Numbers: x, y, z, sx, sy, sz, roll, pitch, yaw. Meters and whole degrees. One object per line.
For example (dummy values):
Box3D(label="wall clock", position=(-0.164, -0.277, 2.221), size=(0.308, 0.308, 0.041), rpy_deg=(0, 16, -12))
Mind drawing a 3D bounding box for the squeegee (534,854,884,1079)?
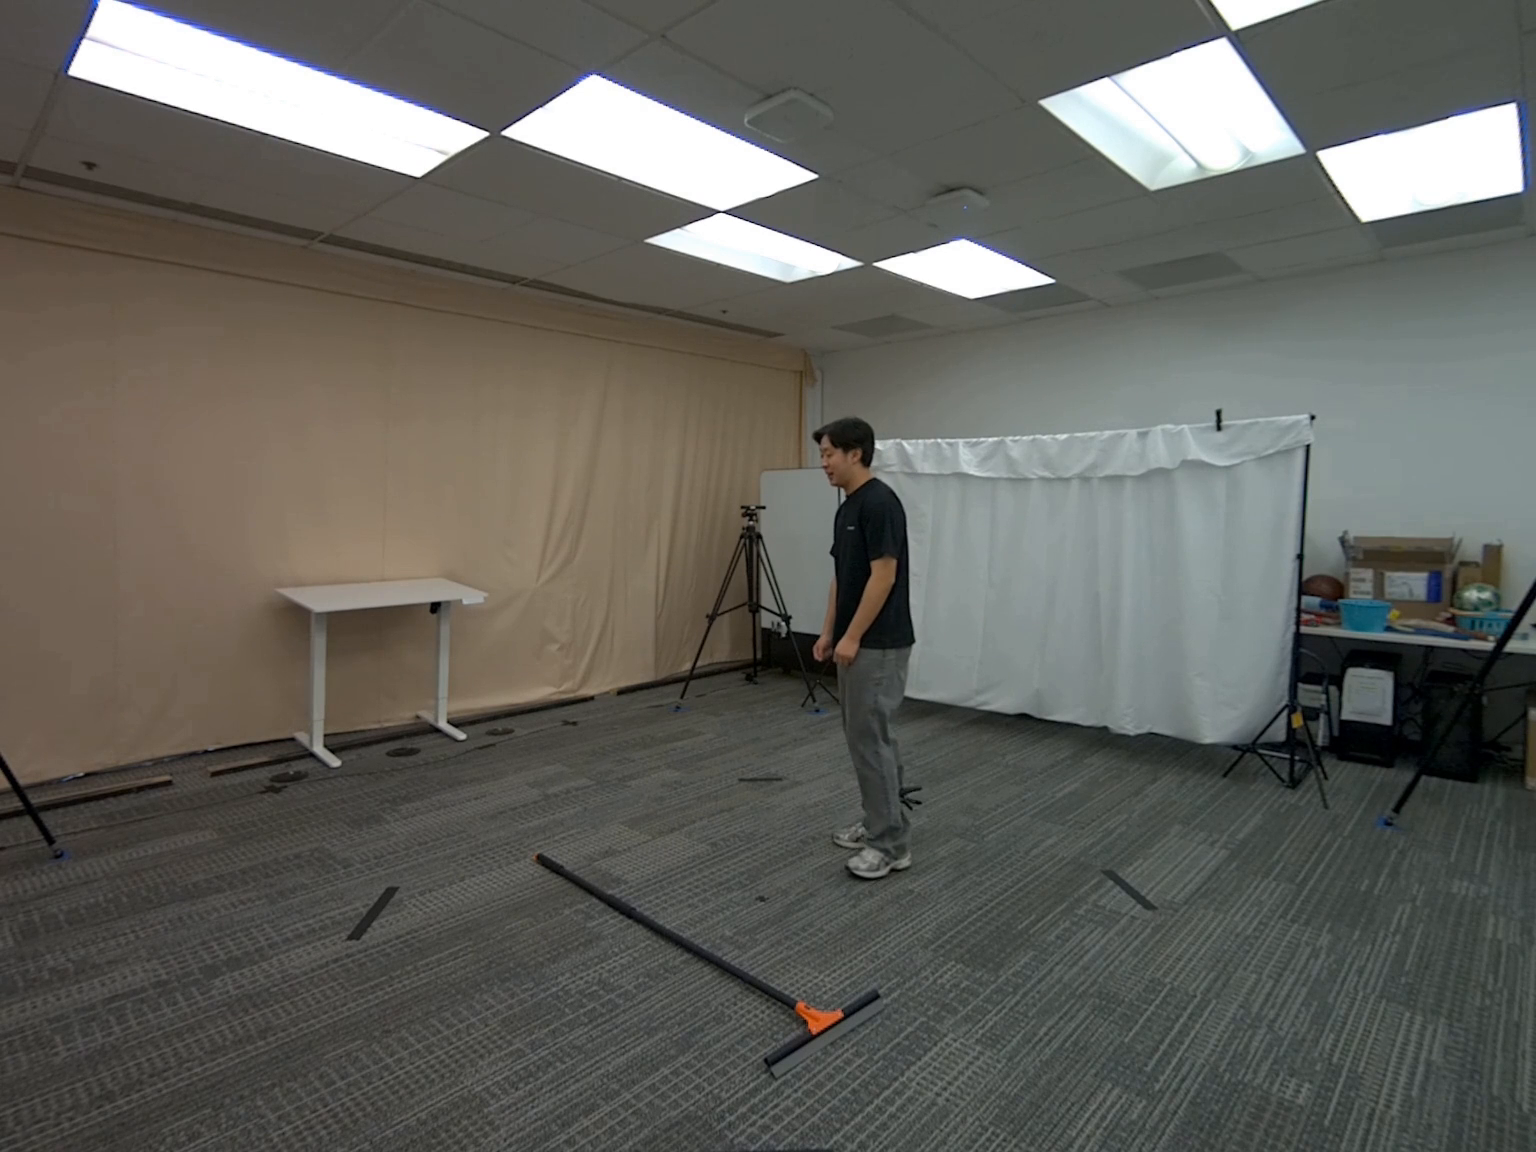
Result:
Box3D(label="squeegee", position=(-0.362, 1.130, 2.764), size=(0.424, 0.053, 1.588), rpy_deg=(-3, 4, -42))
